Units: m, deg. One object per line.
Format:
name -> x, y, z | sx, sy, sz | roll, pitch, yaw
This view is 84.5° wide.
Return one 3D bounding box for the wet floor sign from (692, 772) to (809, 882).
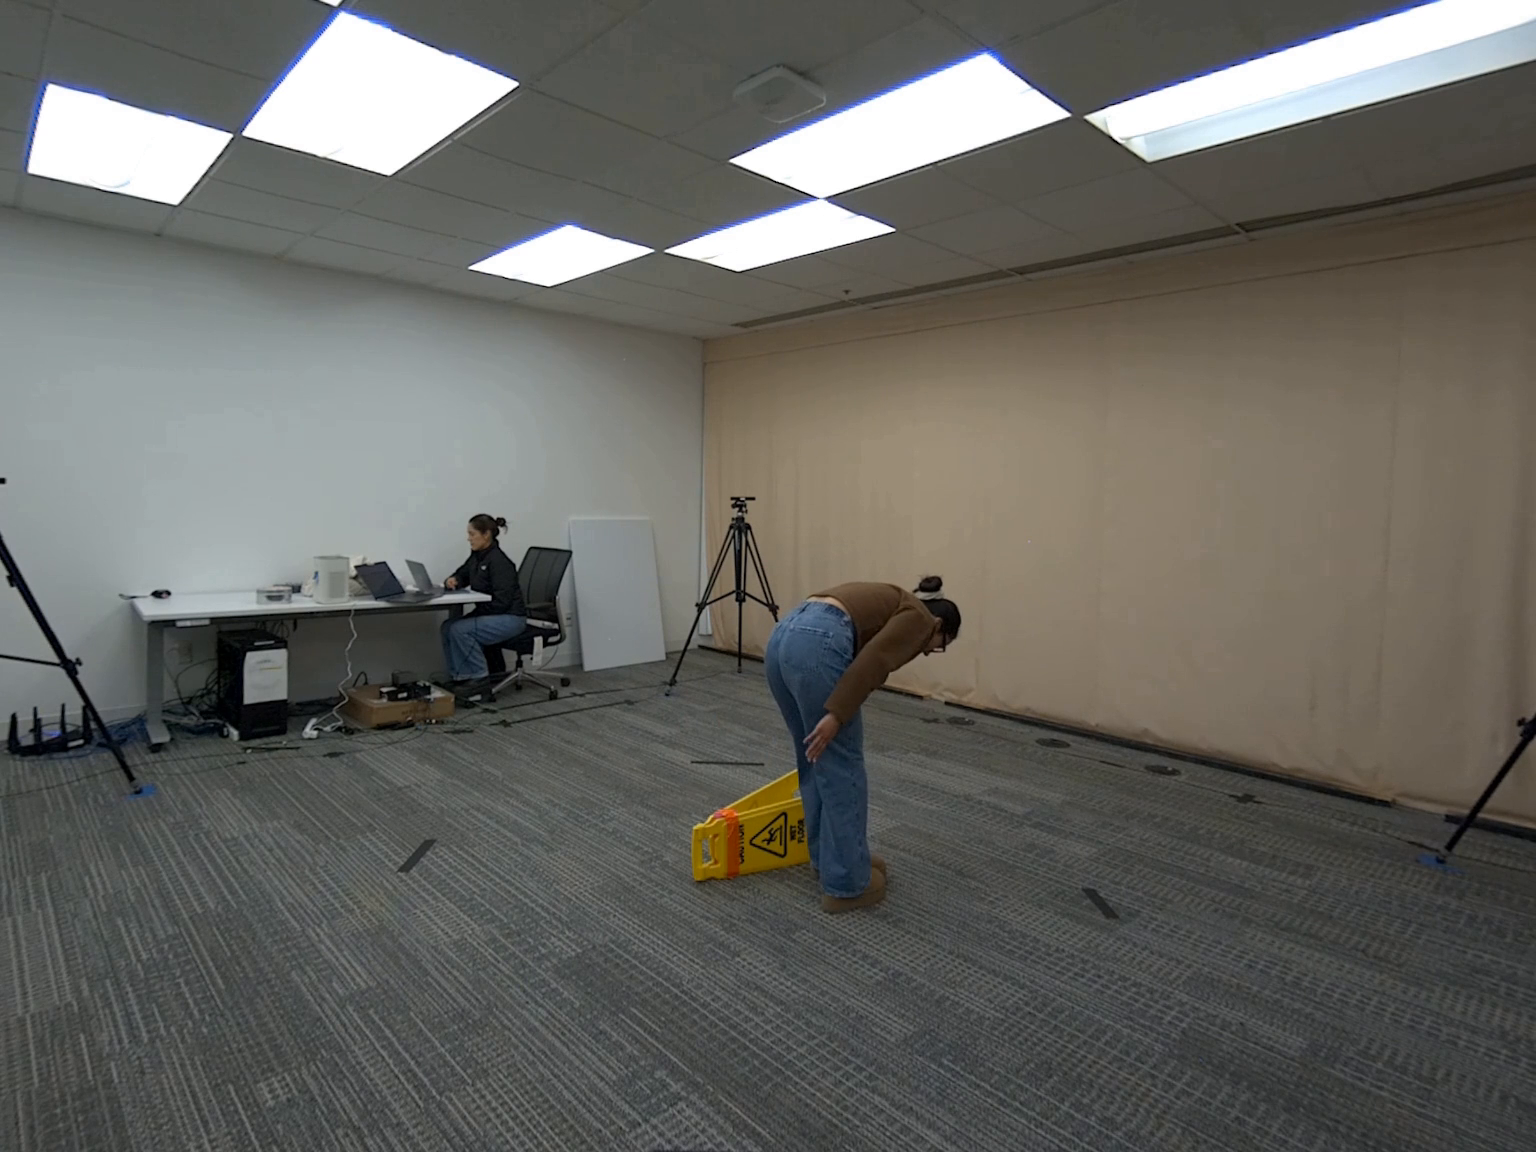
wet floor sign -> -0.019, 0.971, 3.214 | 0.632, 0.281, 0.297 | -6, 7, -39
